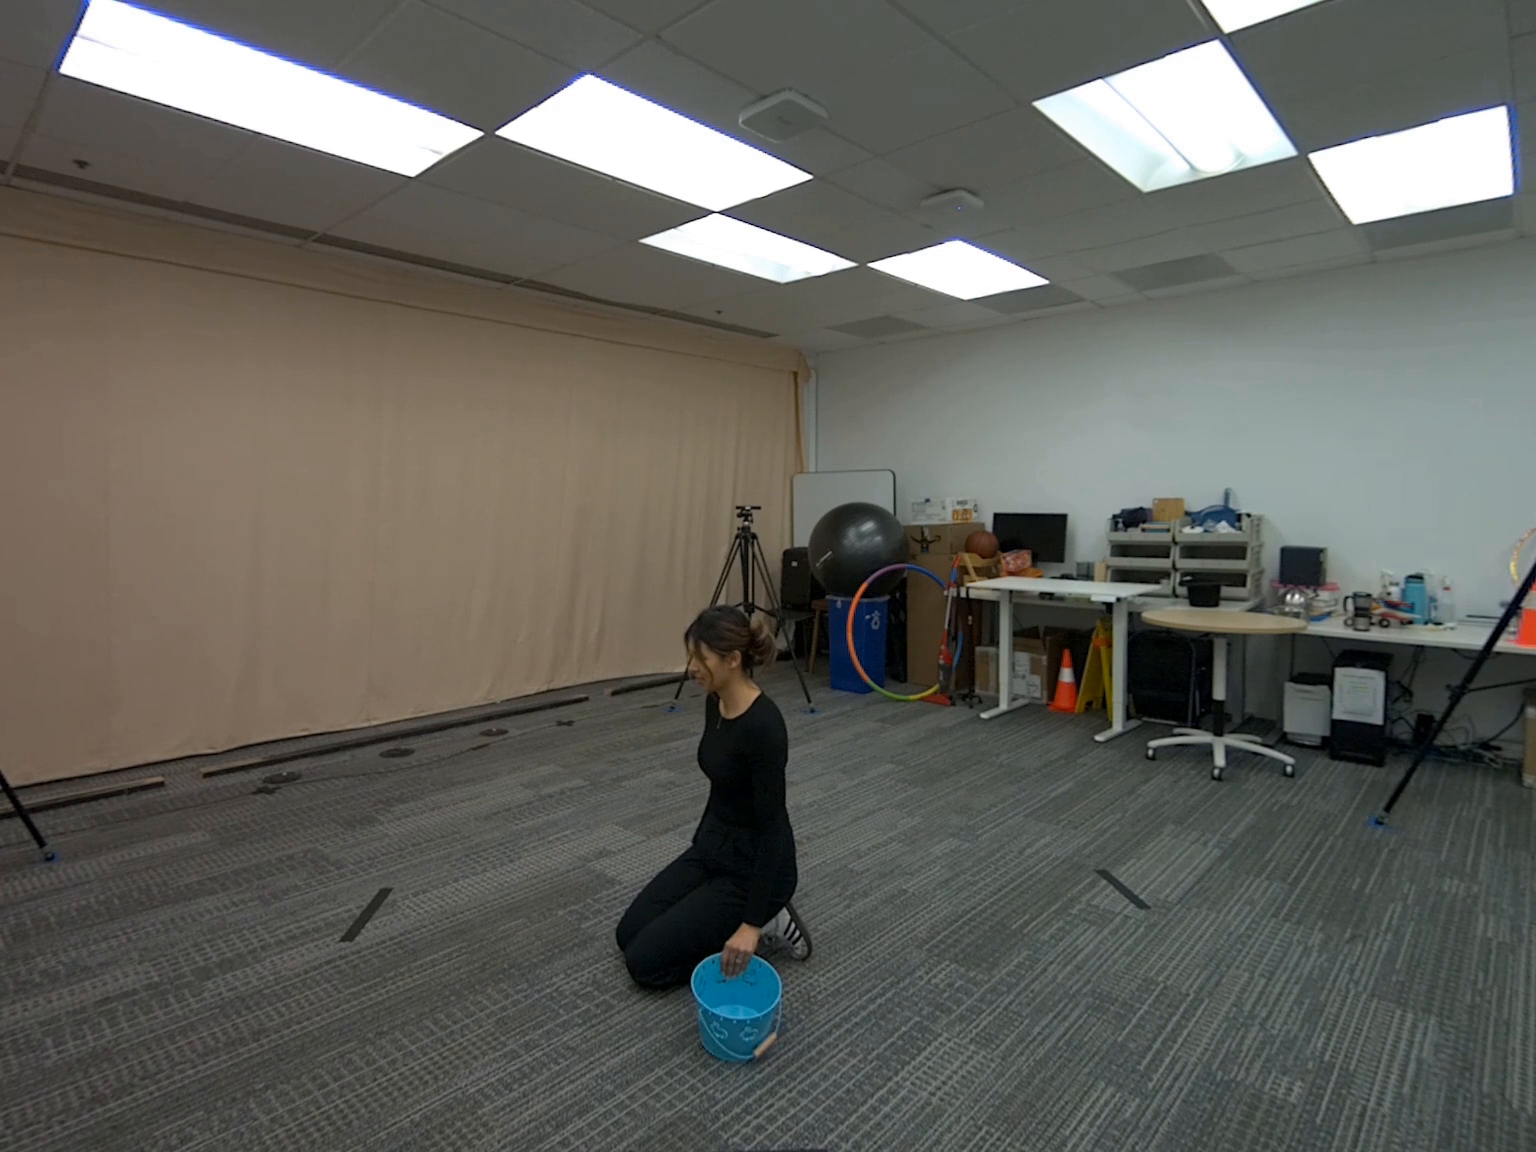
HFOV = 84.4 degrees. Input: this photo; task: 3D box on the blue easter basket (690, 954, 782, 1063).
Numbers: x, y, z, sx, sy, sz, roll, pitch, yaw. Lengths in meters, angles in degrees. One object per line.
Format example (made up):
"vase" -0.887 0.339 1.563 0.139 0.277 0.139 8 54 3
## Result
"blue easter basket" -0.091 1.109 2.173 0.243 0.154 0.246 0 14 -2
